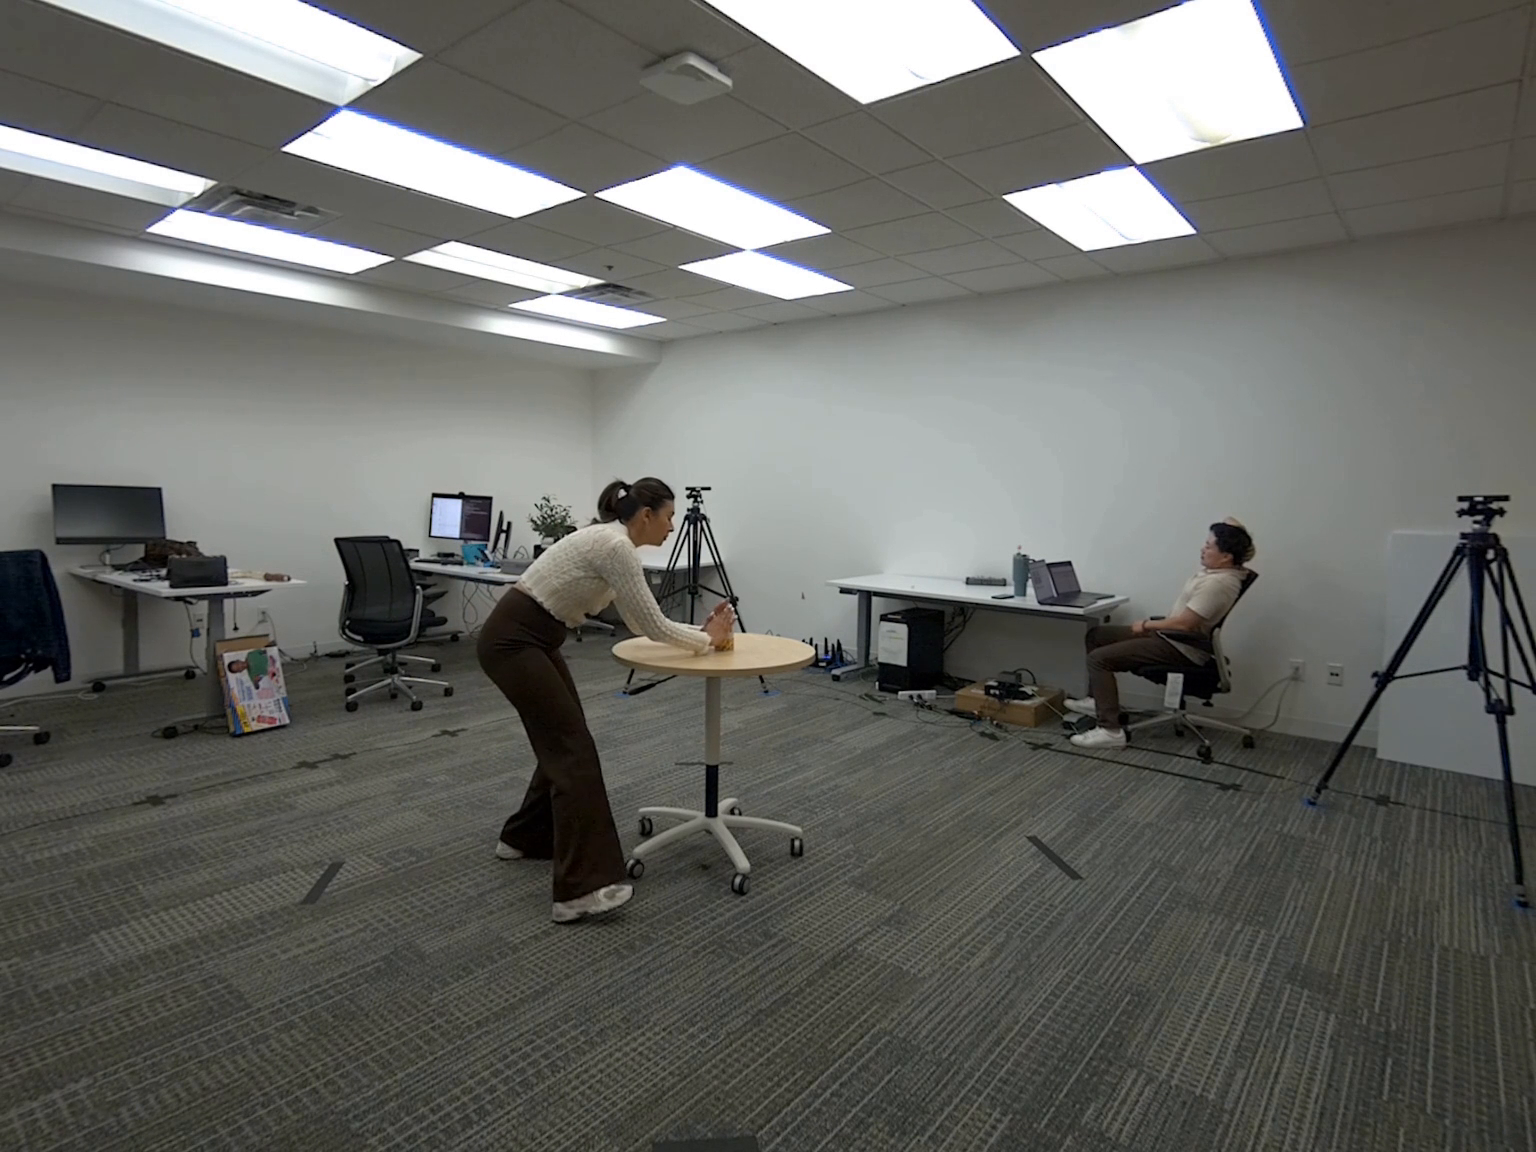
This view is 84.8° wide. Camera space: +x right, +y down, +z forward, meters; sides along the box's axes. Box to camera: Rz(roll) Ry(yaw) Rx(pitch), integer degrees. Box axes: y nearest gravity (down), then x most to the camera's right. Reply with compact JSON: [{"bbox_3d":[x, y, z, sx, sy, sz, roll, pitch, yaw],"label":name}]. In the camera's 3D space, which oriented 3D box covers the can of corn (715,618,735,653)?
[{"bbox_3d":[-0.174,0.221,3.190,0.074,0.111,0.074,2,3,-2],"label":"can of corn"}]
